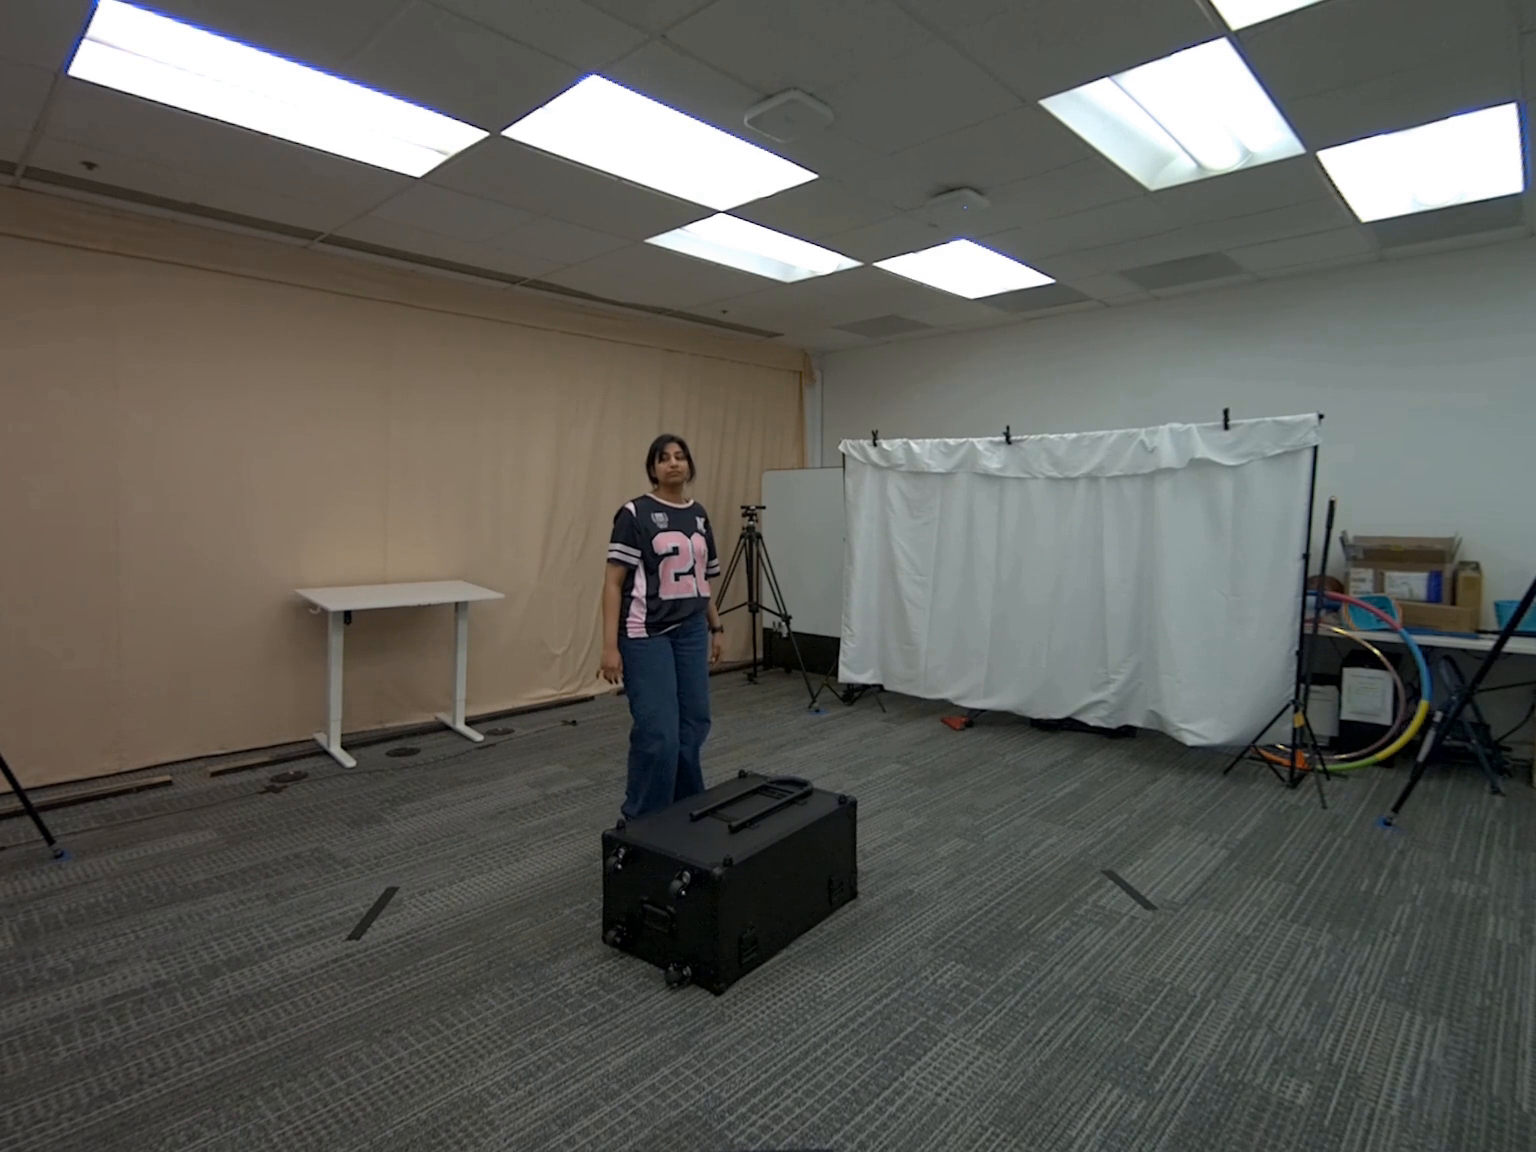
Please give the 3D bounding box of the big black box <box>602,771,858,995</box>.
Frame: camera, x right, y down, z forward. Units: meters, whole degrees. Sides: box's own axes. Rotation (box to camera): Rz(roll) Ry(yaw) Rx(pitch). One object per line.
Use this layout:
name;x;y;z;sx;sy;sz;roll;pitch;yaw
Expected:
big black box;-0.117;0.976;2.796;0.540;0.384;0.843;5;7;37
